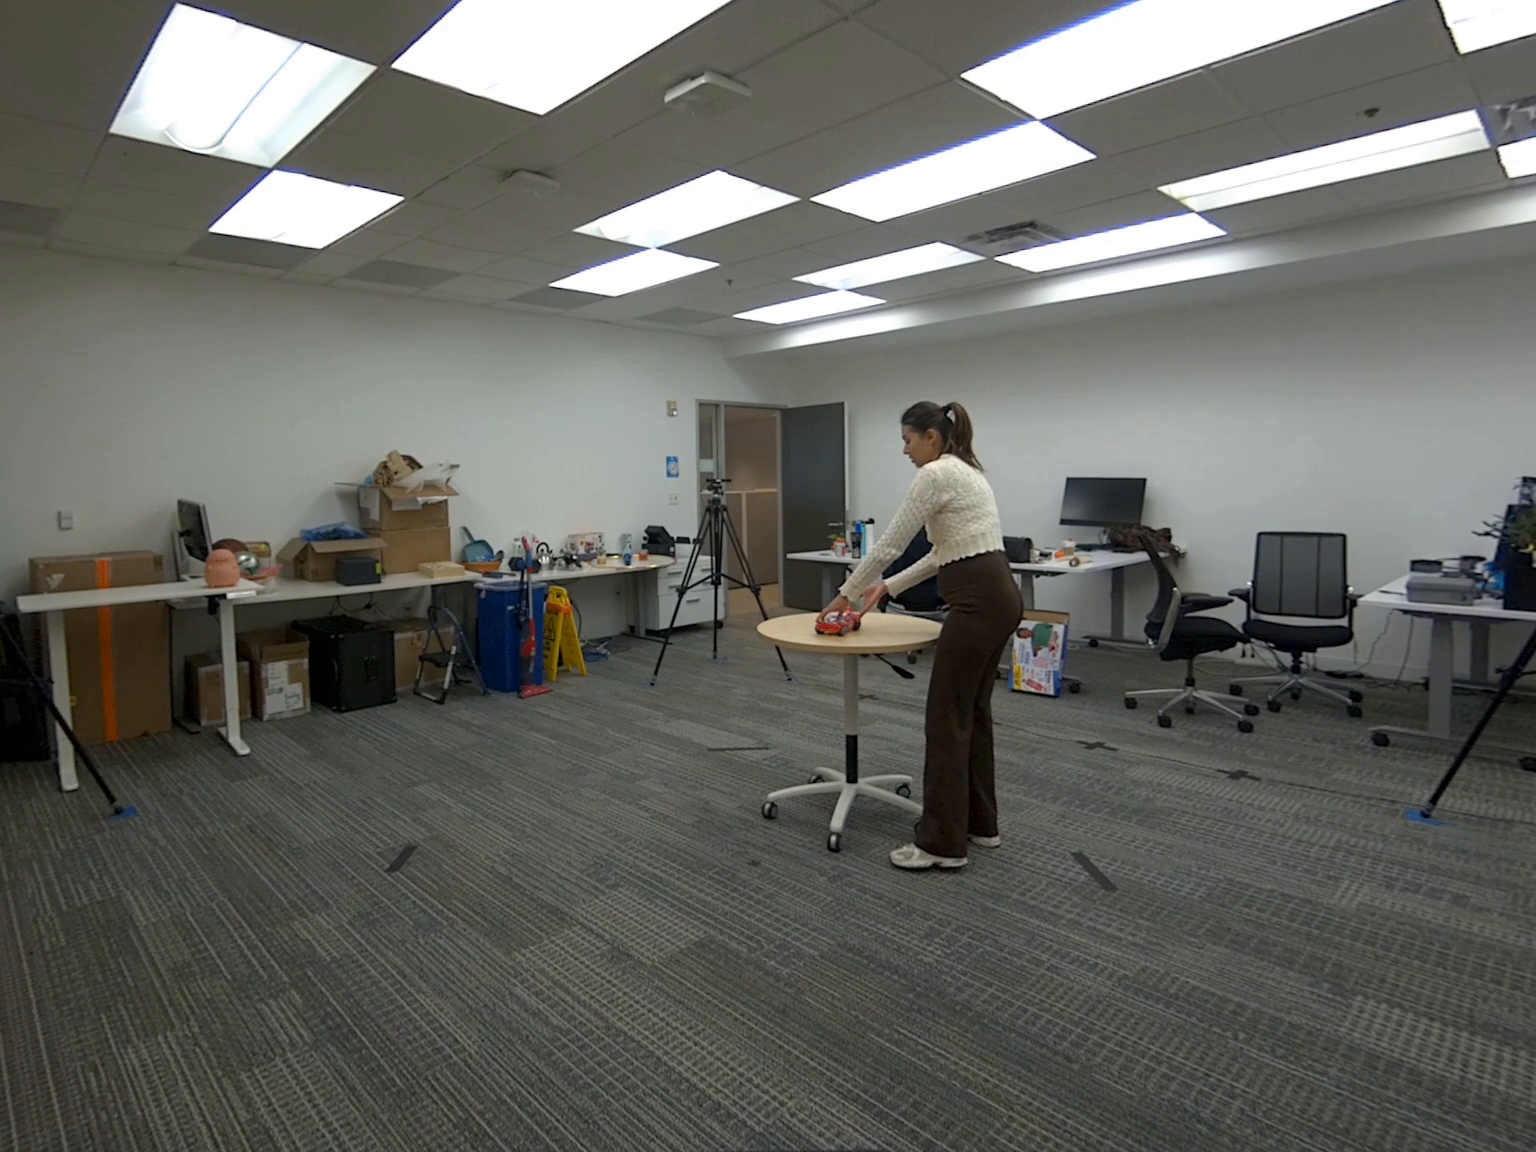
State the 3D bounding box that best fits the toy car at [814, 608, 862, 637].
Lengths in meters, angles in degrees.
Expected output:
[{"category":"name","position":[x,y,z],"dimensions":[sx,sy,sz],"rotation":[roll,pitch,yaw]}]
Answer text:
[{"category":"toy car","position":[0.293,0.188,3.422],"dimensions":[0.133,0.082,0.252],"rotation":[0,17,28]}]
